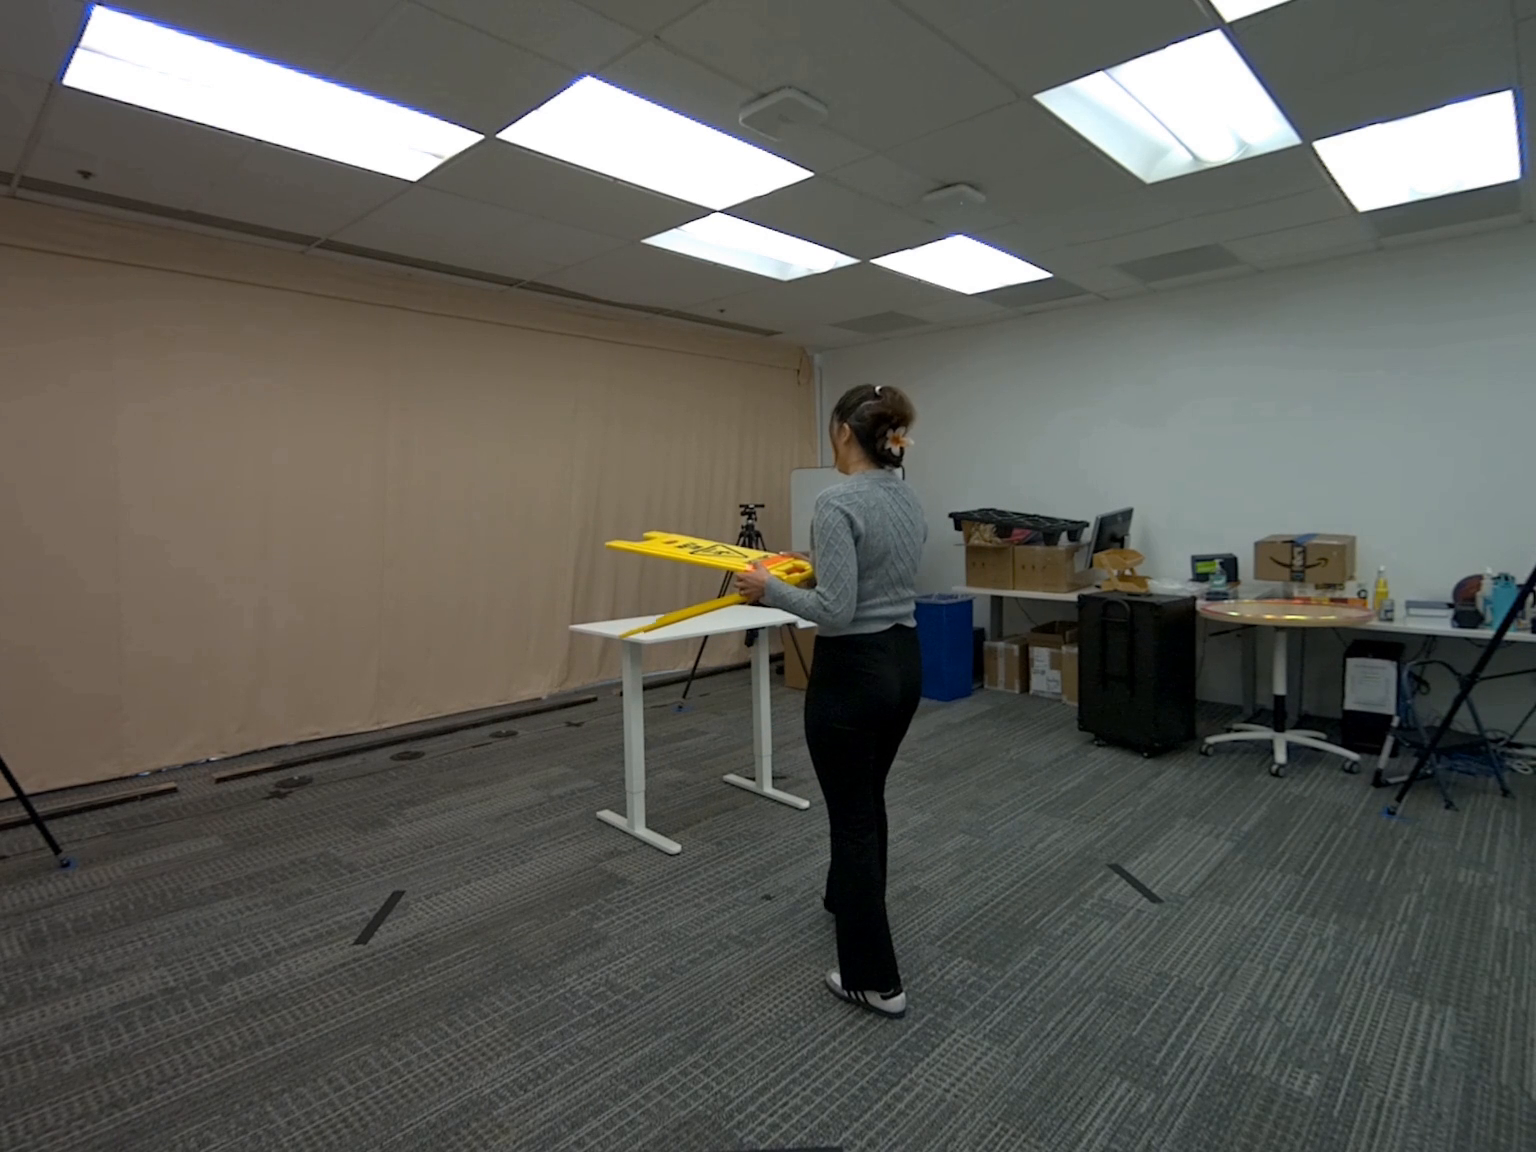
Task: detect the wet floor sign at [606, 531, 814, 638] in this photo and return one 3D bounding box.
[{"bbox_3d":[-0.148,0.010,2.571,0.664,0.288,0.276,-3,8,30],"label":"wet floor sign"}]
